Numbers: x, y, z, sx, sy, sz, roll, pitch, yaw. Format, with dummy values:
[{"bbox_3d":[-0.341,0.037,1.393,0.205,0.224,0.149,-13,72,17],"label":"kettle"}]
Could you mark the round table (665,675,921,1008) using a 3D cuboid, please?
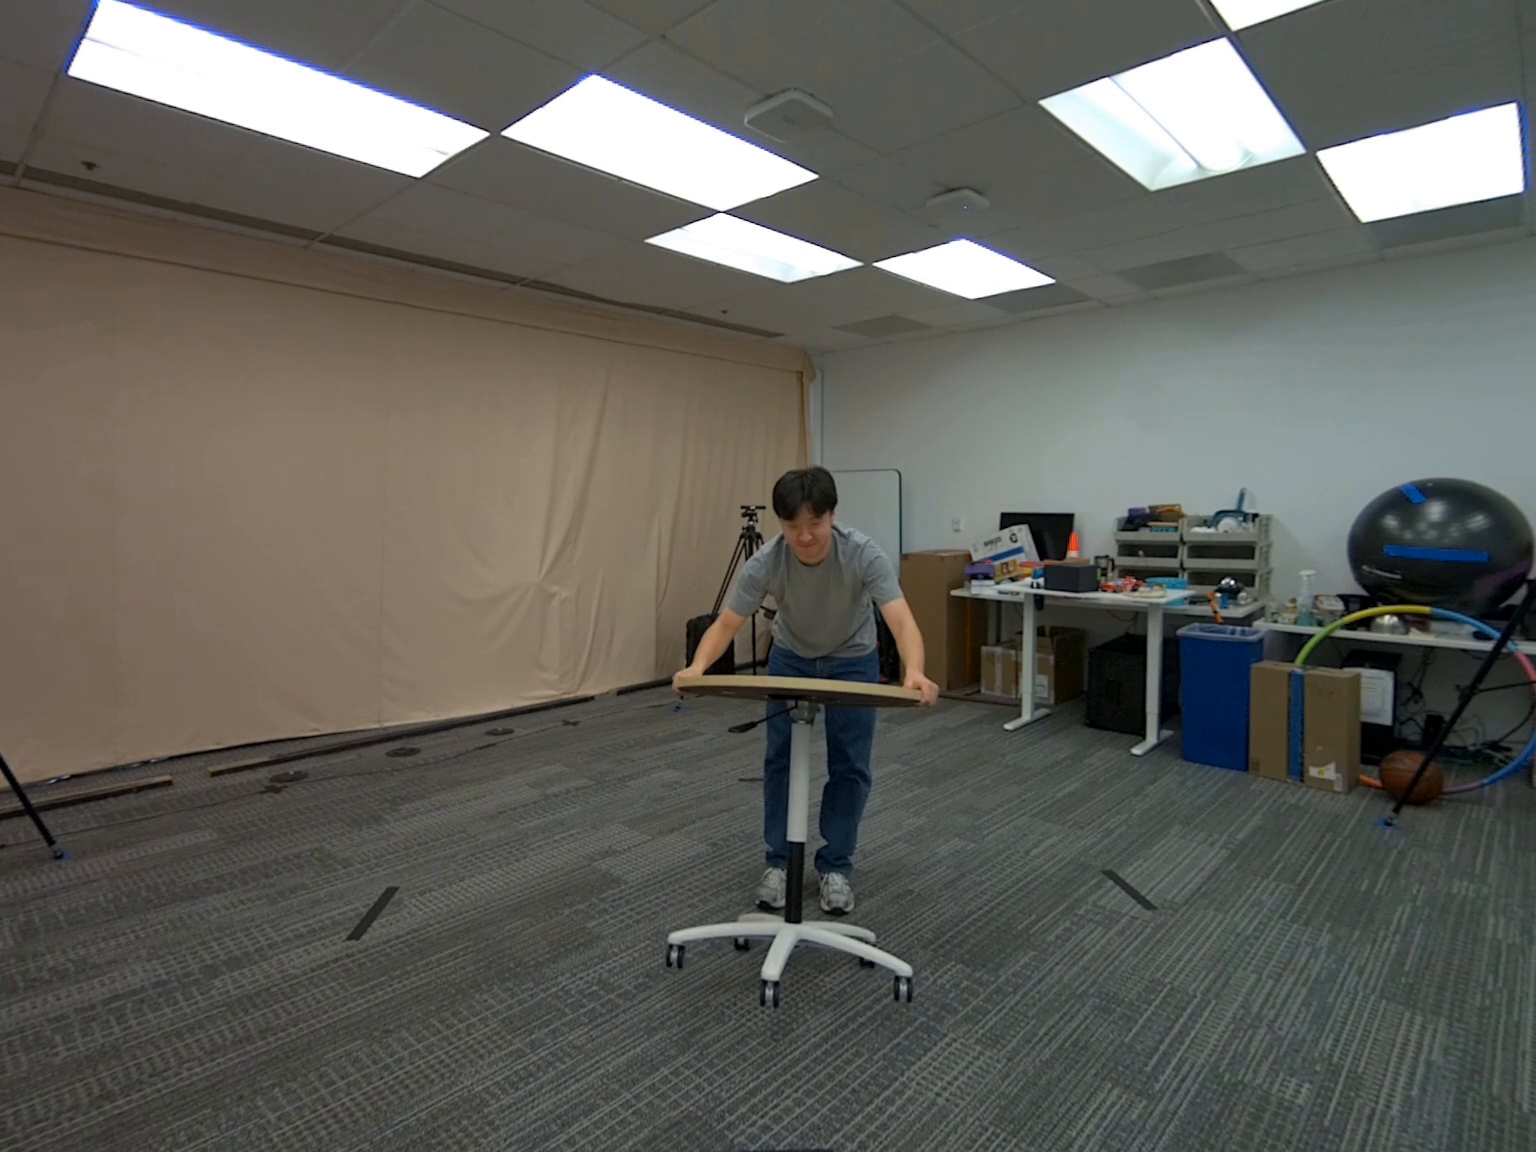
[{"bbox_3d":[0.085,0.738,2.453,0.764,0.799,0.759,4,-12,-1],"label":"round table"}]
